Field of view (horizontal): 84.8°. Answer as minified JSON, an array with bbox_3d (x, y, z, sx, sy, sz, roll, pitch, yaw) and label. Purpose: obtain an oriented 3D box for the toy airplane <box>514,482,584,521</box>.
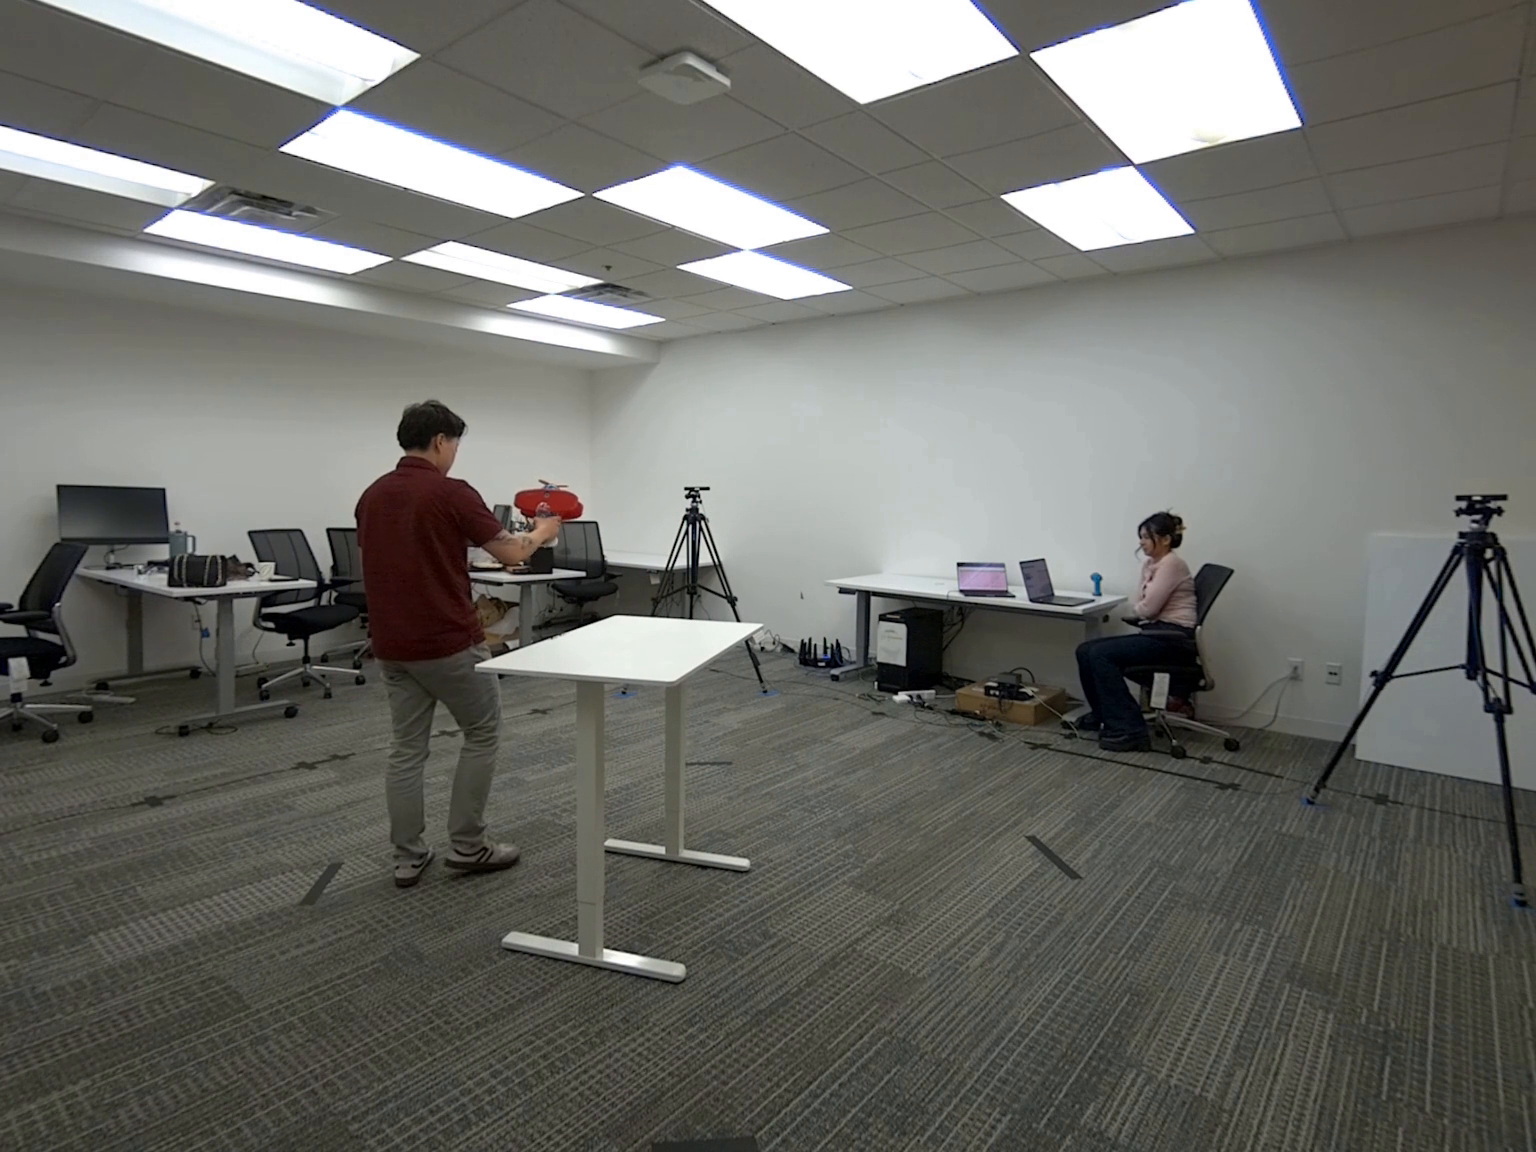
[{"bbox_3d":[-0.854,-0.241,3.336,0.249,0.269,0.152,-20,-34,-9],"label":"toy airplane"}]
